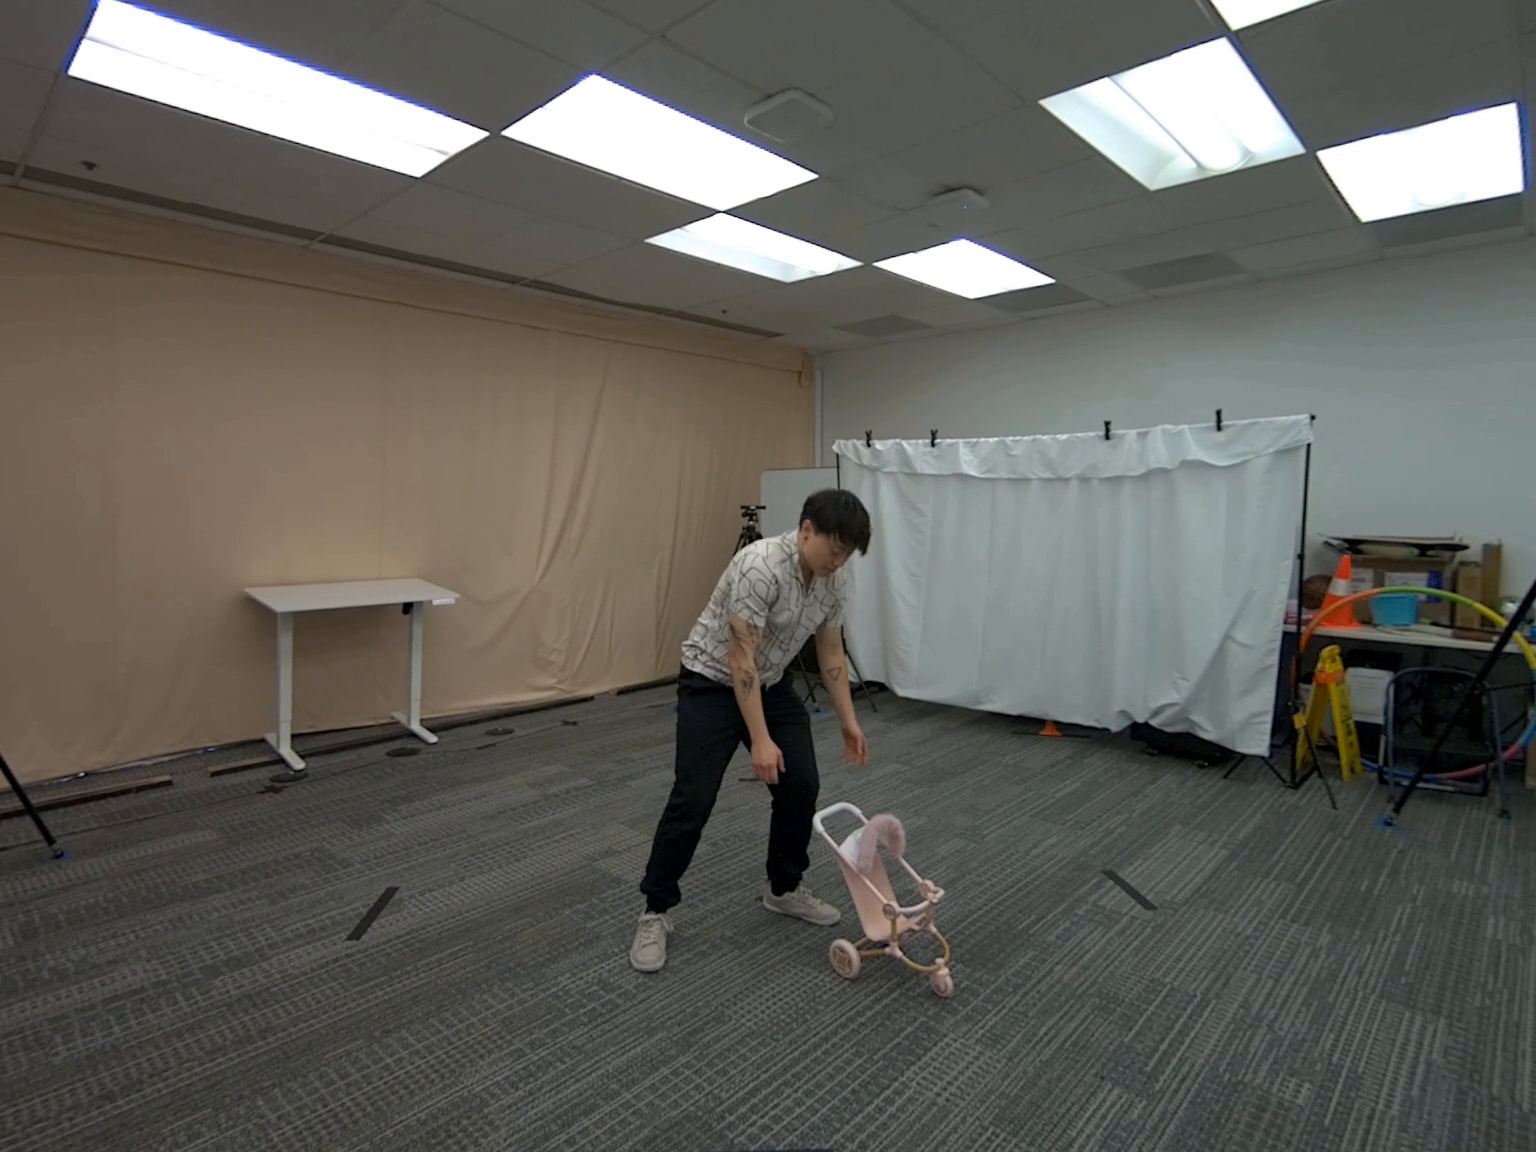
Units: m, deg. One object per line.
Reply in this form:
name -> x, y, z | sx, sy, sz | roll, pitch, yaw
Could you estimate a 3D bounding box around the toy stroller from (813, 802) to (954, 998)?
toy stroller -> 0.364, 0.957, 2.513 | 0.273, 0.539, 0.349 | -4, -11, -42
